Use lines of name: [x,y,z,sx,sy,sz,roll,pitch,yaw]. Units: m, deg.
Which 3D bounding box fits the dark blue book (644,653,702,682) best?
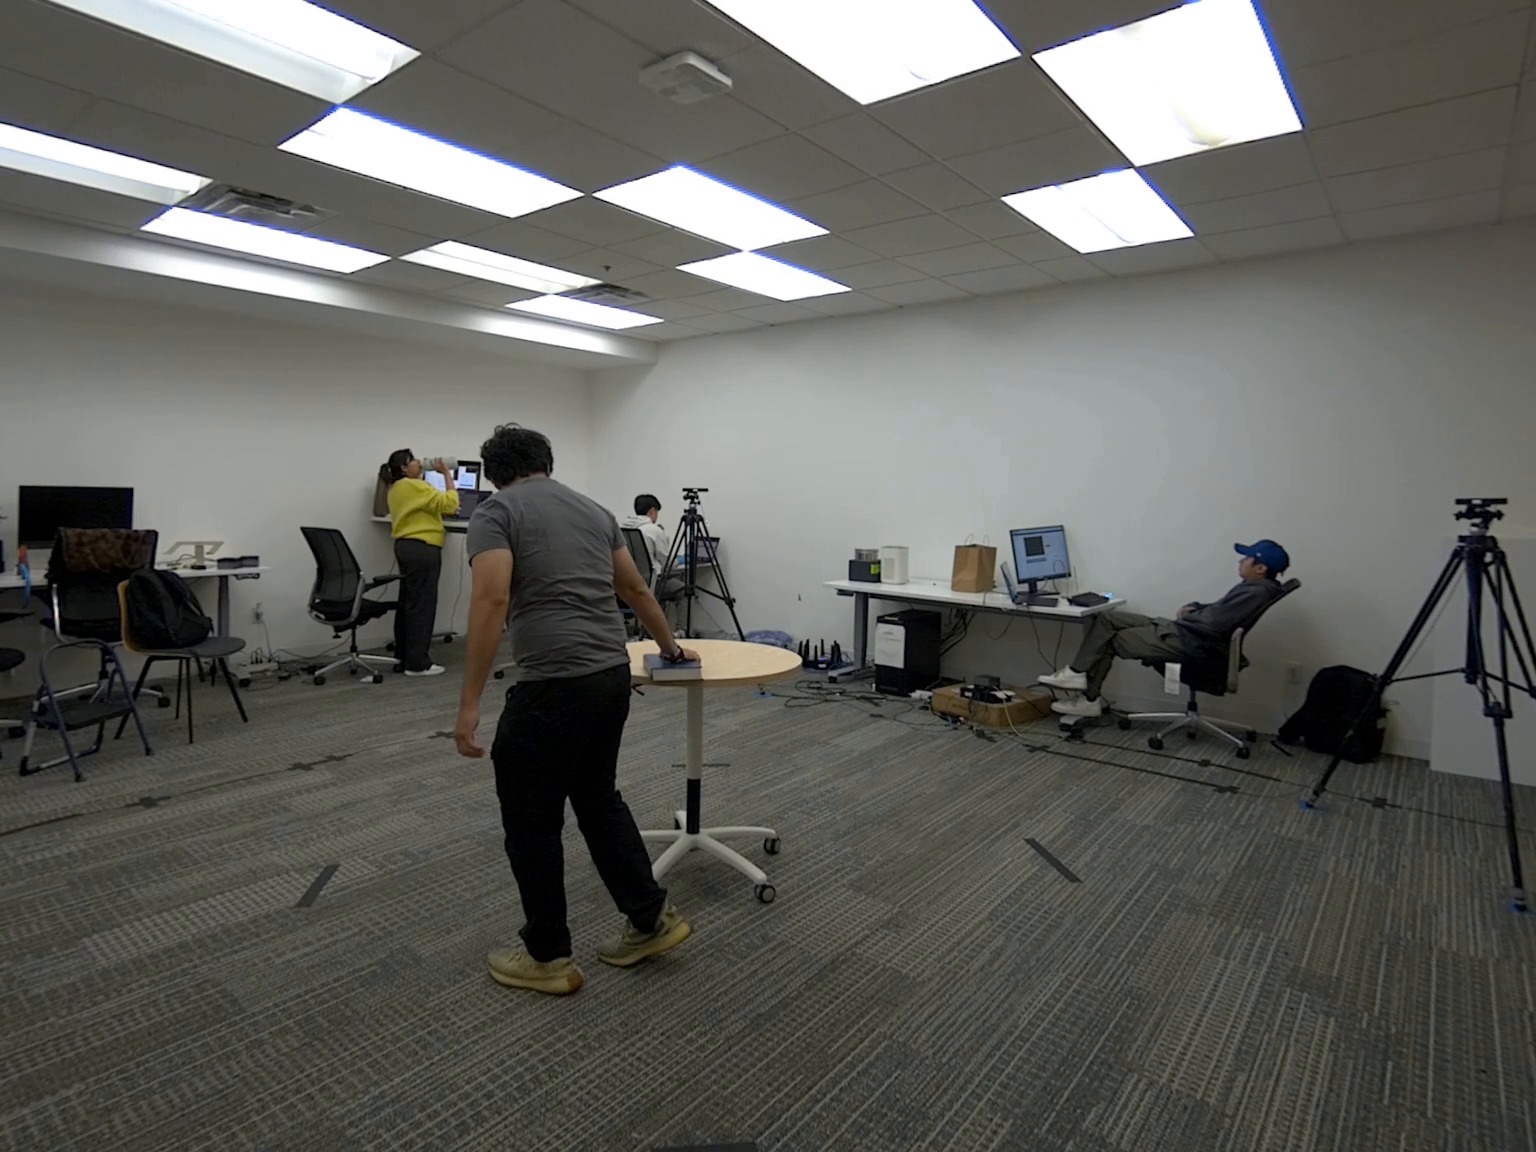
dark blue book: [-0.322,0.295,2.779,0.161,0.045,0.249,-1,5,-13]
